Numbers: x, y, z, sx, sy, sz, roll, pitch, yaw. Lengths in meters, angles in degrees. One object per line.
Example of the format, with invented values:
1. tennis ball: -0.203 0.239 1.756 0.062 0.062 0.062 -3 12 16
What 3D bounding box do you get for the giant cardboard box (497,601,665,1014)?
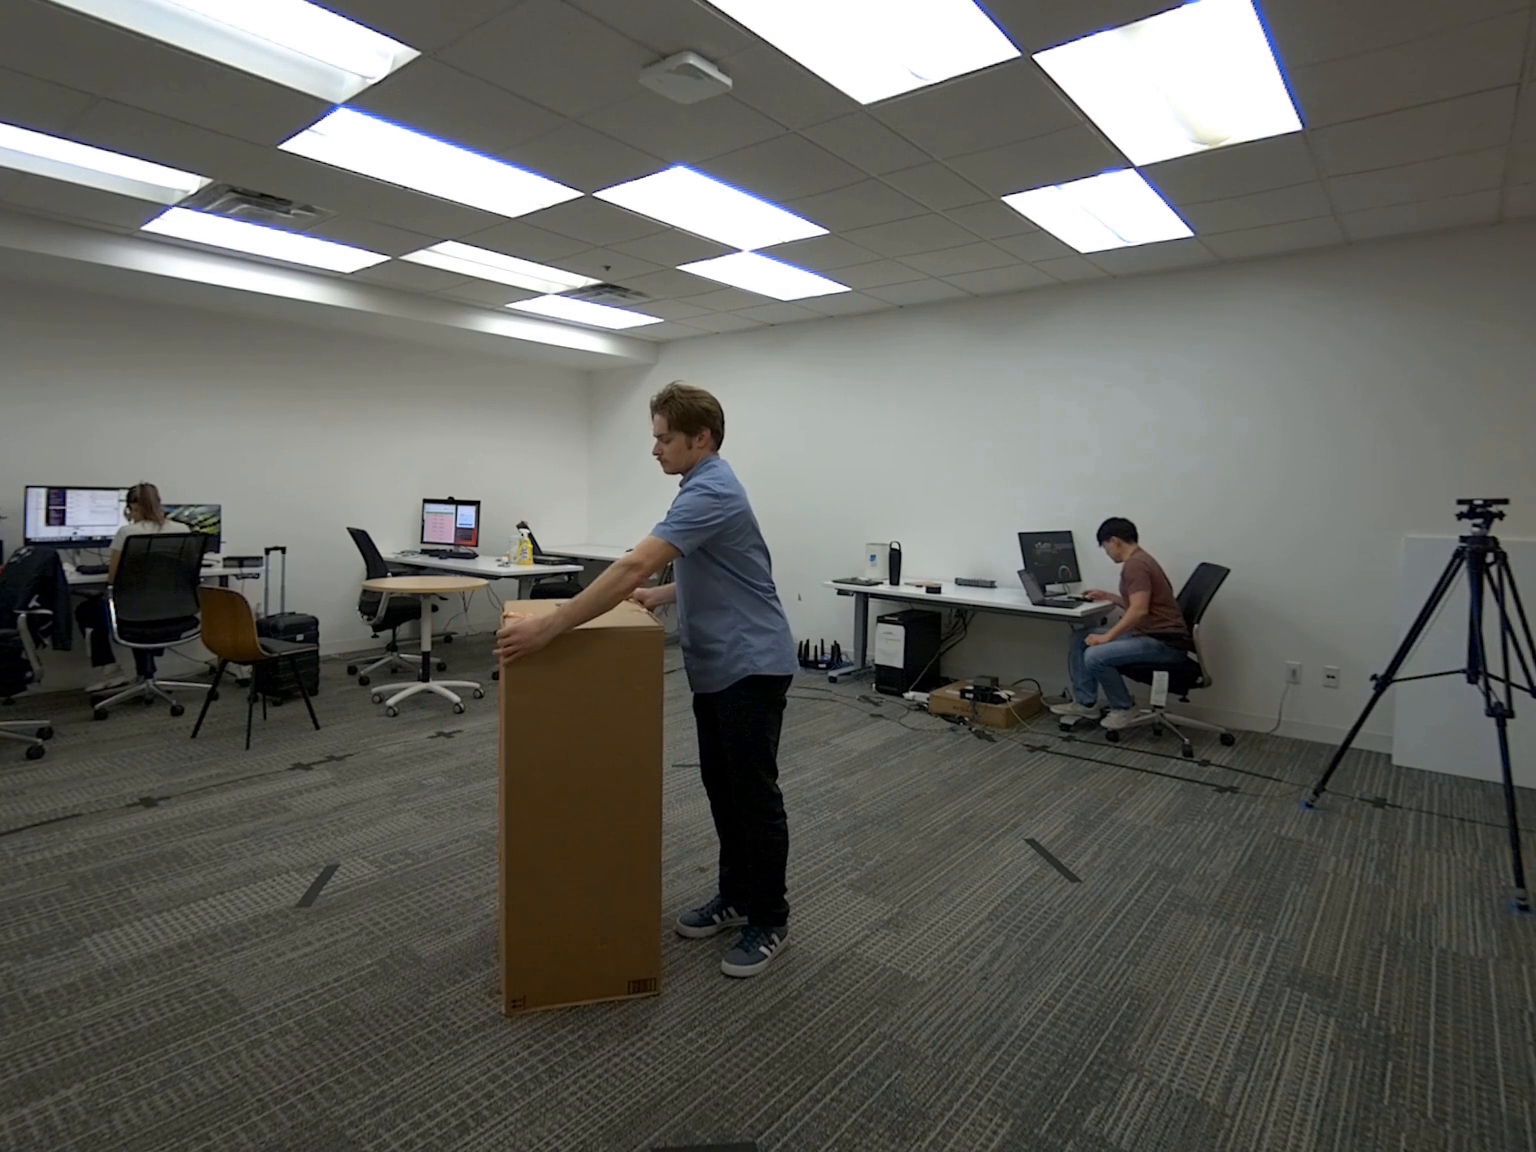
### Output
1. giant cardboard box: -0.581 0.616 2.515 0.419 1.022 0.590 -1 4 -18
